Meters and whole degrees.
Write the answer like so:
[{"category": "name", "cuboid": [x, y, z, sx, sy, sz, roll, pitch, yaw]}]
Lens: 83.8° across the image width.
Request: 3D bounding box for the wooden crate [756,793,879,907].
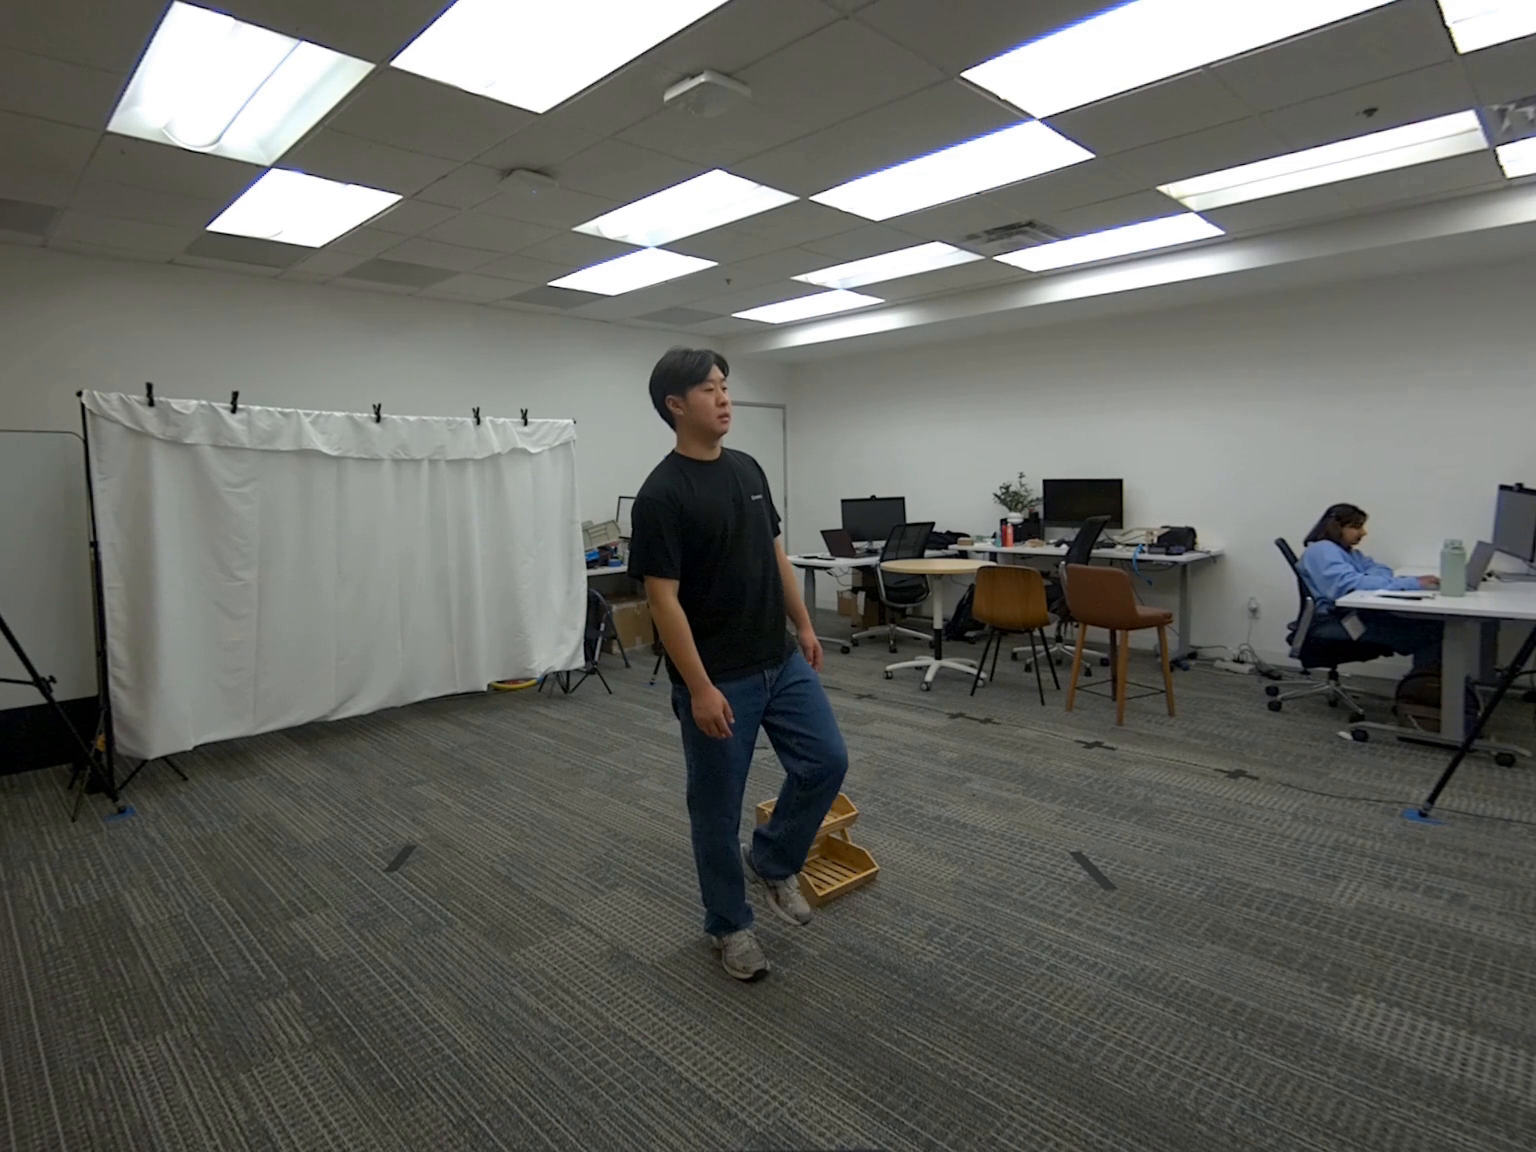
[{"category": "wooden crate", "cuboid": [0.178, 0.923, 2.959, 0.316, 0.272, 0.311, -6, 7, -41]}]
